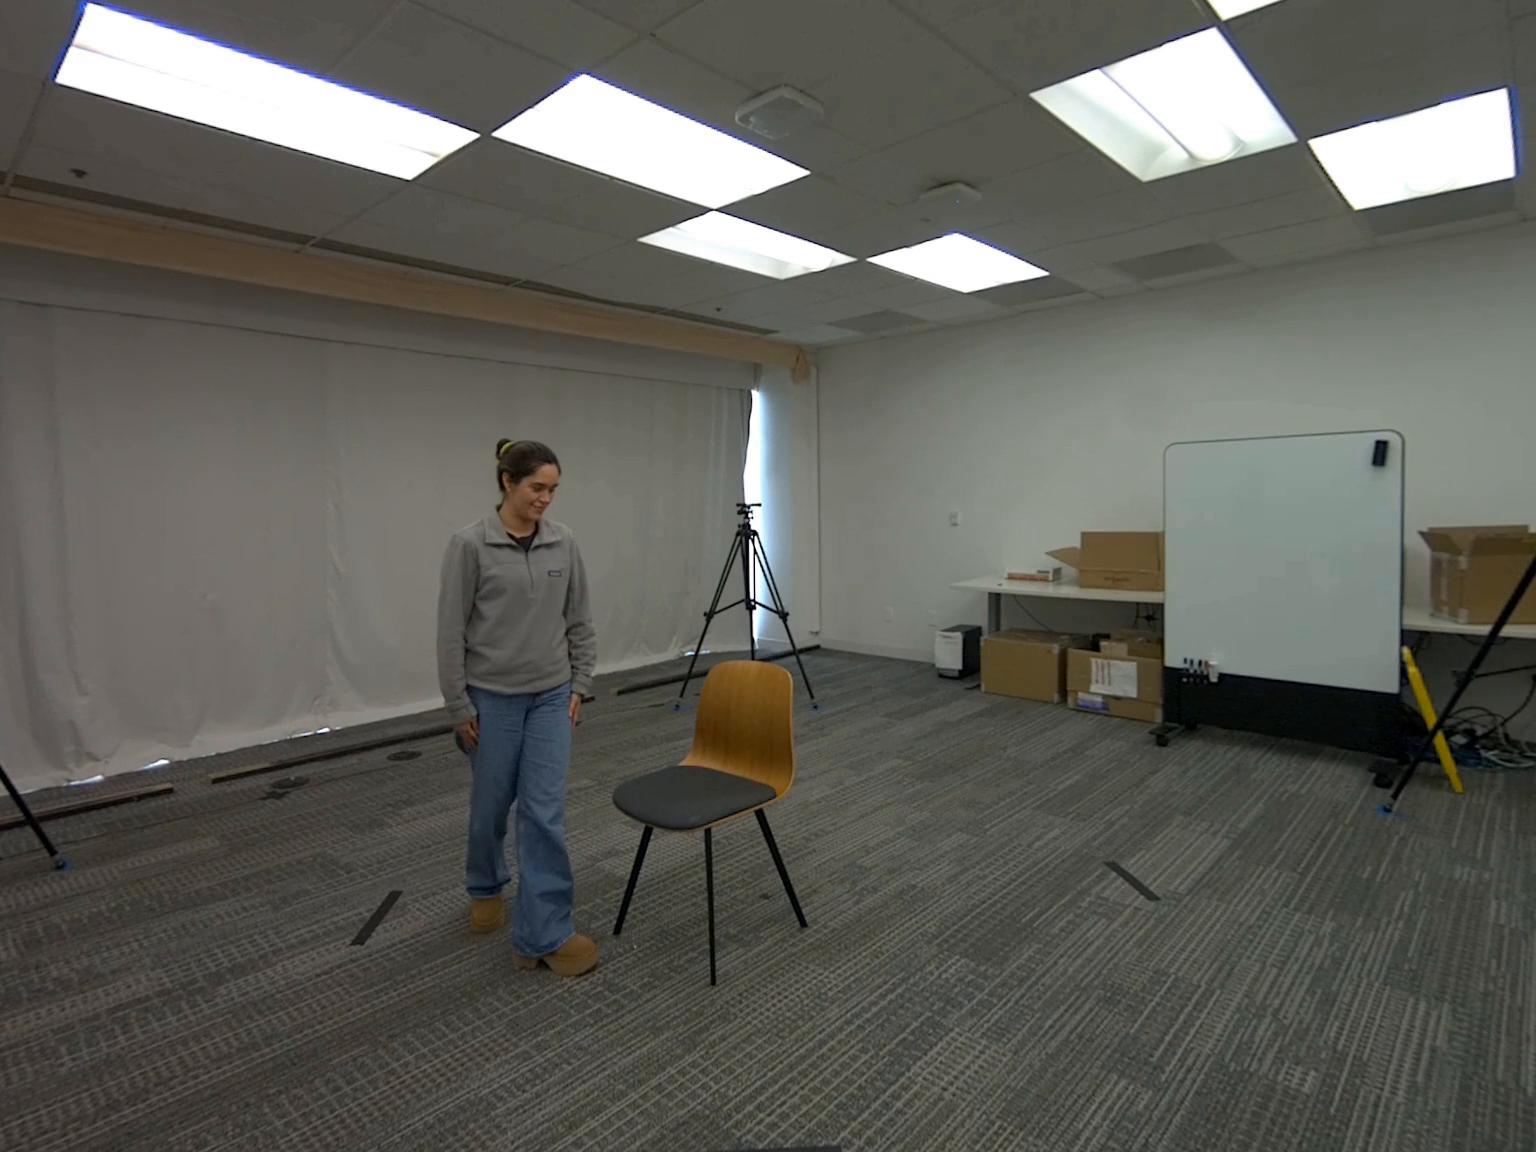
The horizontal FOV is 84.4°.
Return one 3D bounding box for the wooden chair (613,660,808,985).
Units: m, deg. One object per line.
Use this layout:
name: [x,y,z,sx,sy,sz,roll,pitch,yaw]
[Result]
wooden chair: [-0.197,0.733,2.717,0.494,0.877,0.506,3,0,41]
